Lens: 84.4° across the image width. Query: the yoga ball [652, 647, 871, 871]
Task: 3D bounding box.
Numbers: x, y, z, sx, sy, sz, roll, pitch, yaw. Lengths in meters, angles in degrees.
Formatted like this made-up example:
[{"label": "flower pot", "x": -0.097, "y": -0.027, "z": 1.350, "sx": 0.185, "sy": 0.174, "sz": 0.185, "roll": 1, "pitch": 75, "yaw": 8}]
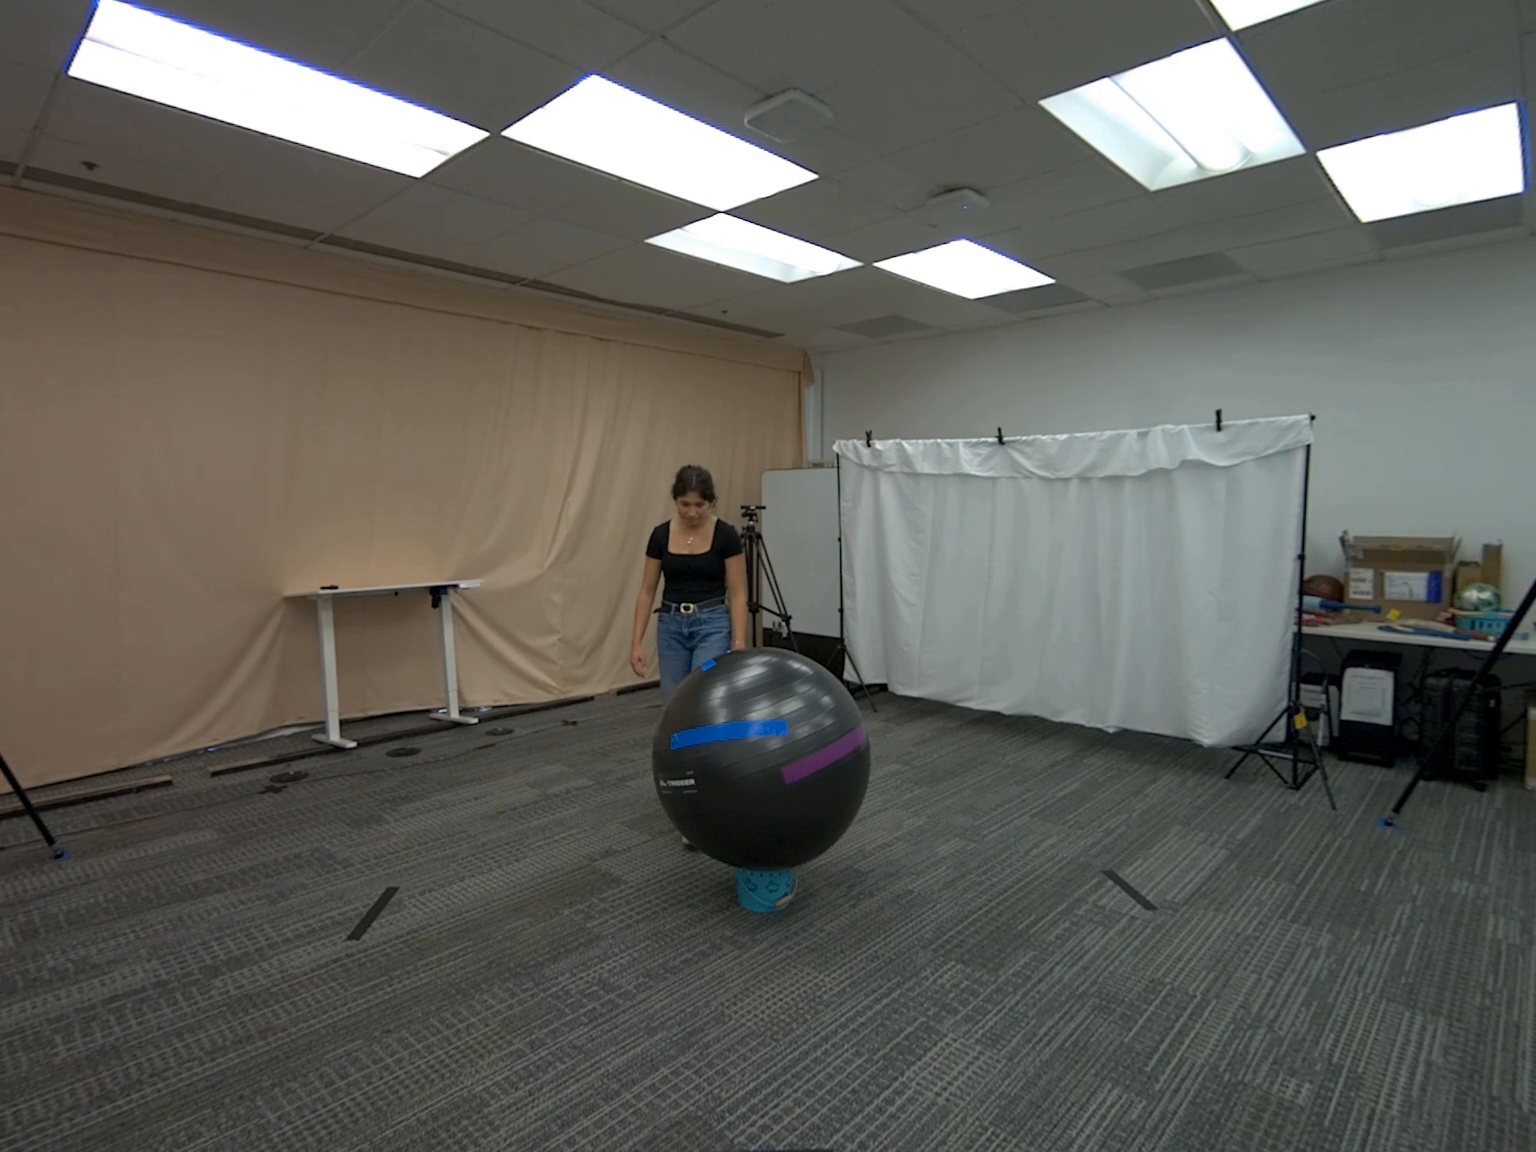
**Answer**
[{"label": "yoga ball", "x": -0.029, "y": 0.639, "z": 2.955, "sx": 0.757, "sy": 0.756, "sz": 0.760, "roll": 0, "pitch": 4, "yaw": -2}]
